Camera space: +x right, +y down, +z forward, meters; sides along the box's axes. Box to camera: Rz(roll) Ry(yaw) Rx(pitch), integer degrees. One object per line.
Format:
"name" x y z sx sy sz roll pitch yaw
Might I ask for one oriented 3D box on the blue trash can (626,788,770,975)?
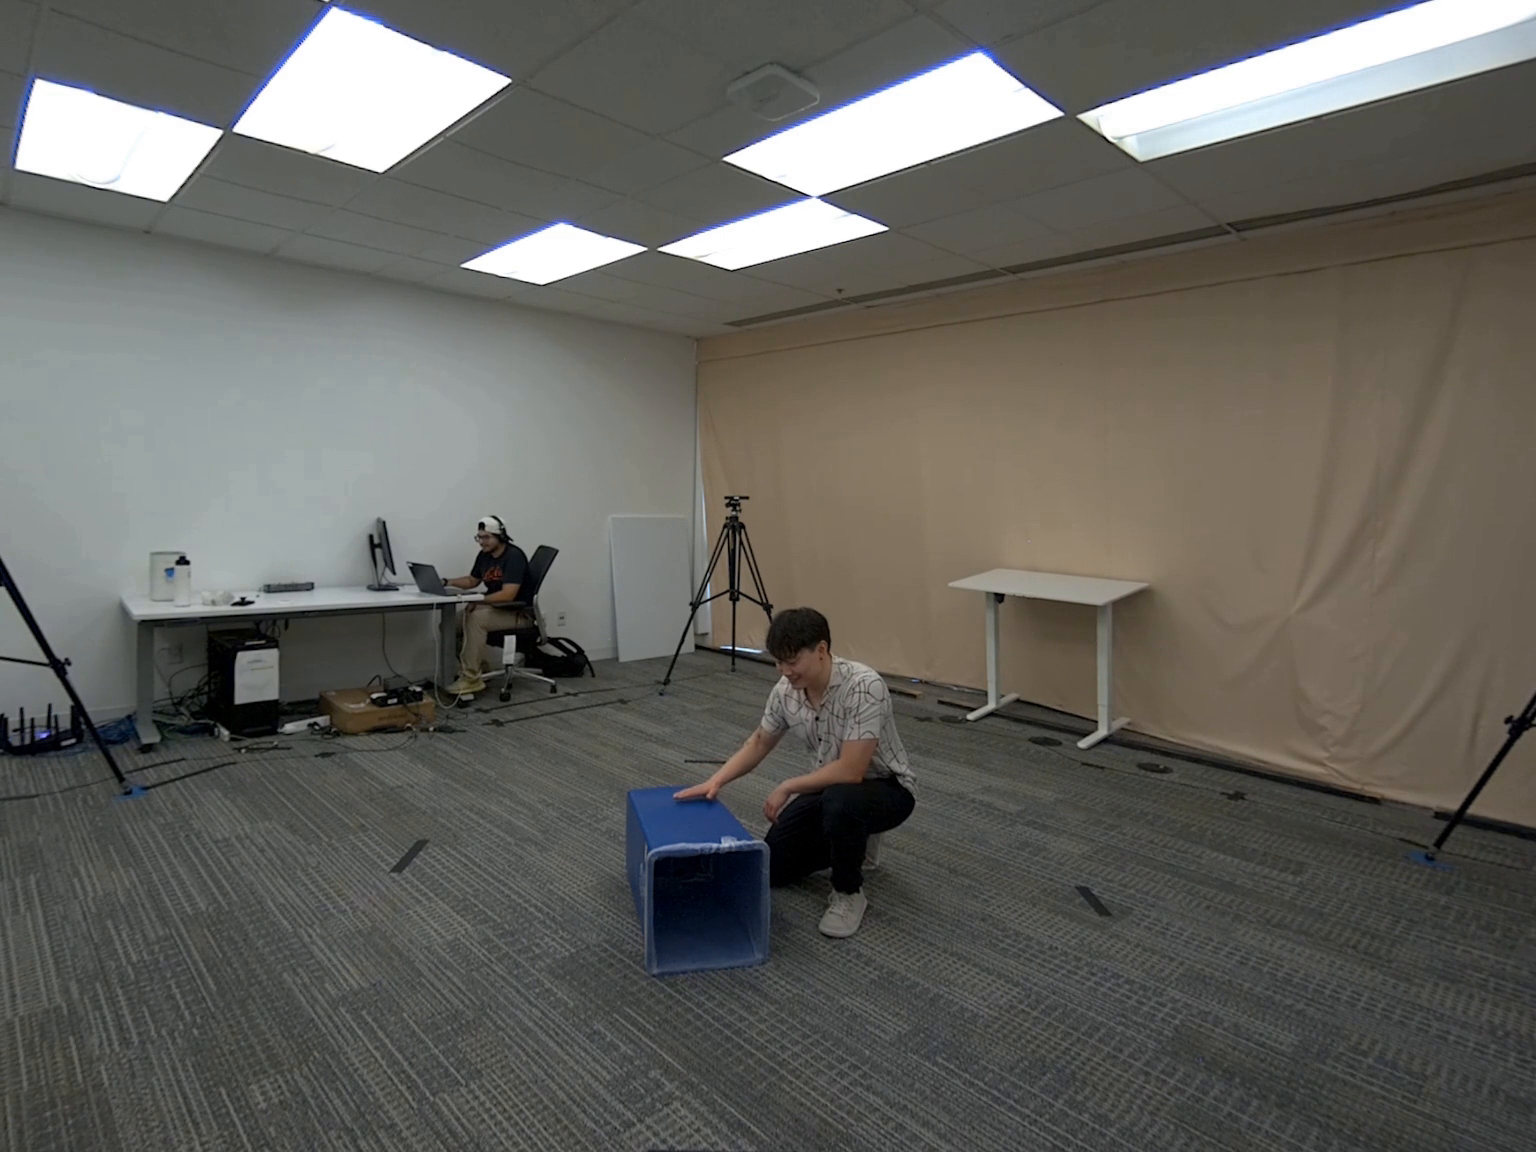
"blue trash can" -0.272 0.957 2.808 0.373 0.374 0.723 1 1 -16
